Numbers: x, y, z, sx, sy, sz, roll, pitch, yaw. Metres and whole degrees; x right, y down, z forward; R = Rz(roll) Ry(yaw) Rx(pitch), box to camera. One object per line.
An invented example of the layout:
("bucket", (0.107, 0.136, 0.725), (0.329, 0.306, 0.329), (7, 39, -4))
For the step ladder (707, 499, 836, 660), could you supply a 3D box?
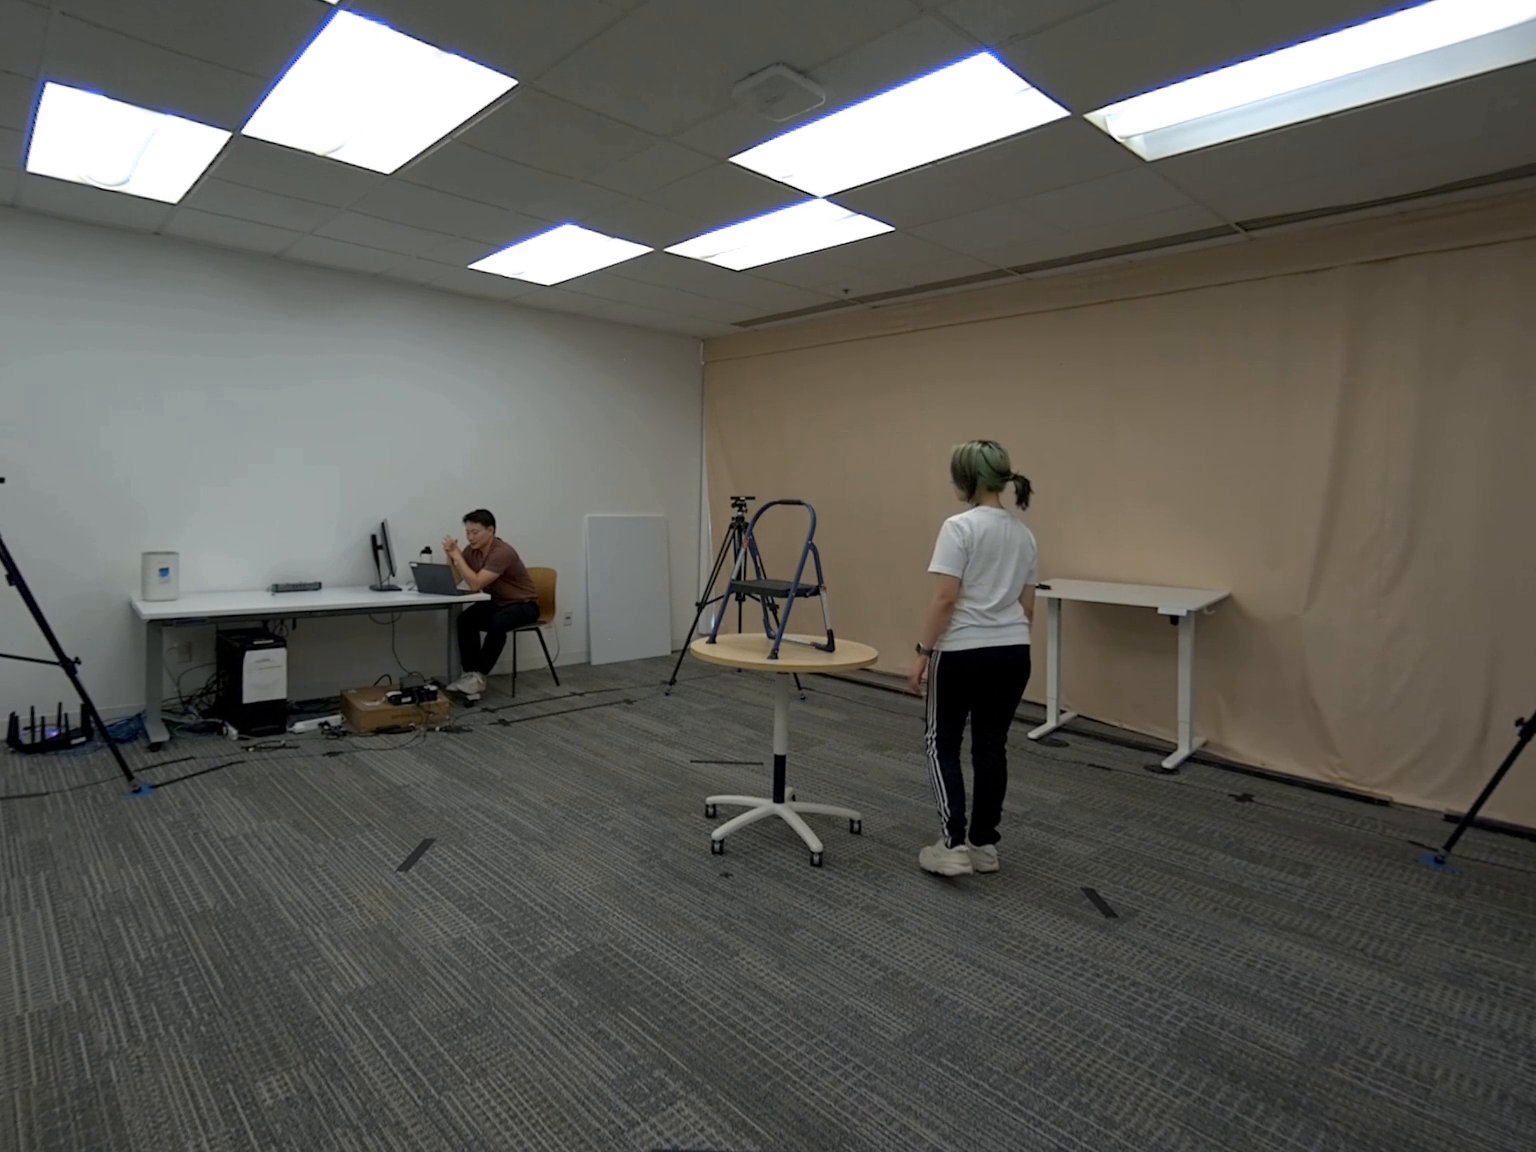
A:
("step ladder", (0.018, -0.005, 3.427), (0.341, 0.605, 0.441), (0, 4, -39))
